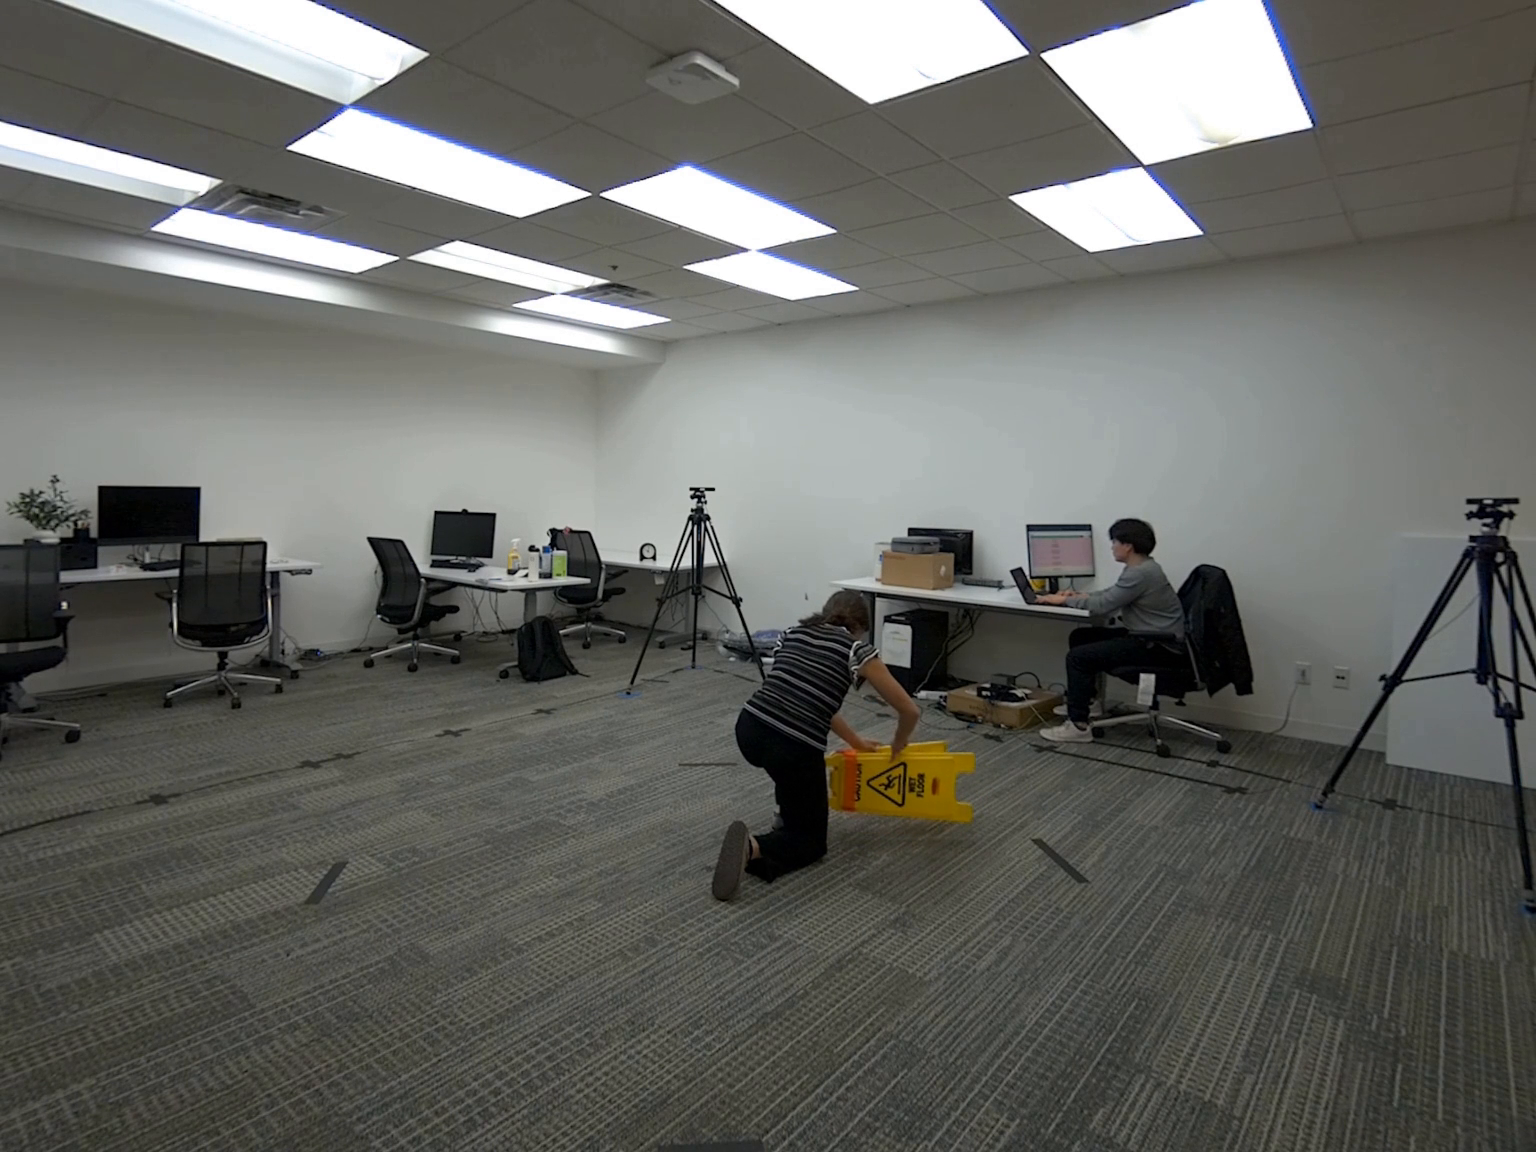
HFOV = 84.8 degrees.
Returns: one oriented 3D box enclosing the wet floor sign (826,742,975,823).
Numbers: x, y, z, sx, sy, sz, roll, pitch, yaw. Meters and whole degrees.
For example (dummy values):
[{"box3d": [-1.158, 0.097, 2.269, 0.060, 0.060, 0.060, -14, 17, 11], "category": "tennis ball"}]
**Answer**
[{"box3d": [0.486, 0.845, 3.495, 0.637, 0.283, 0.293, 2, -1, -12], "category": "wet floor sign"}]
